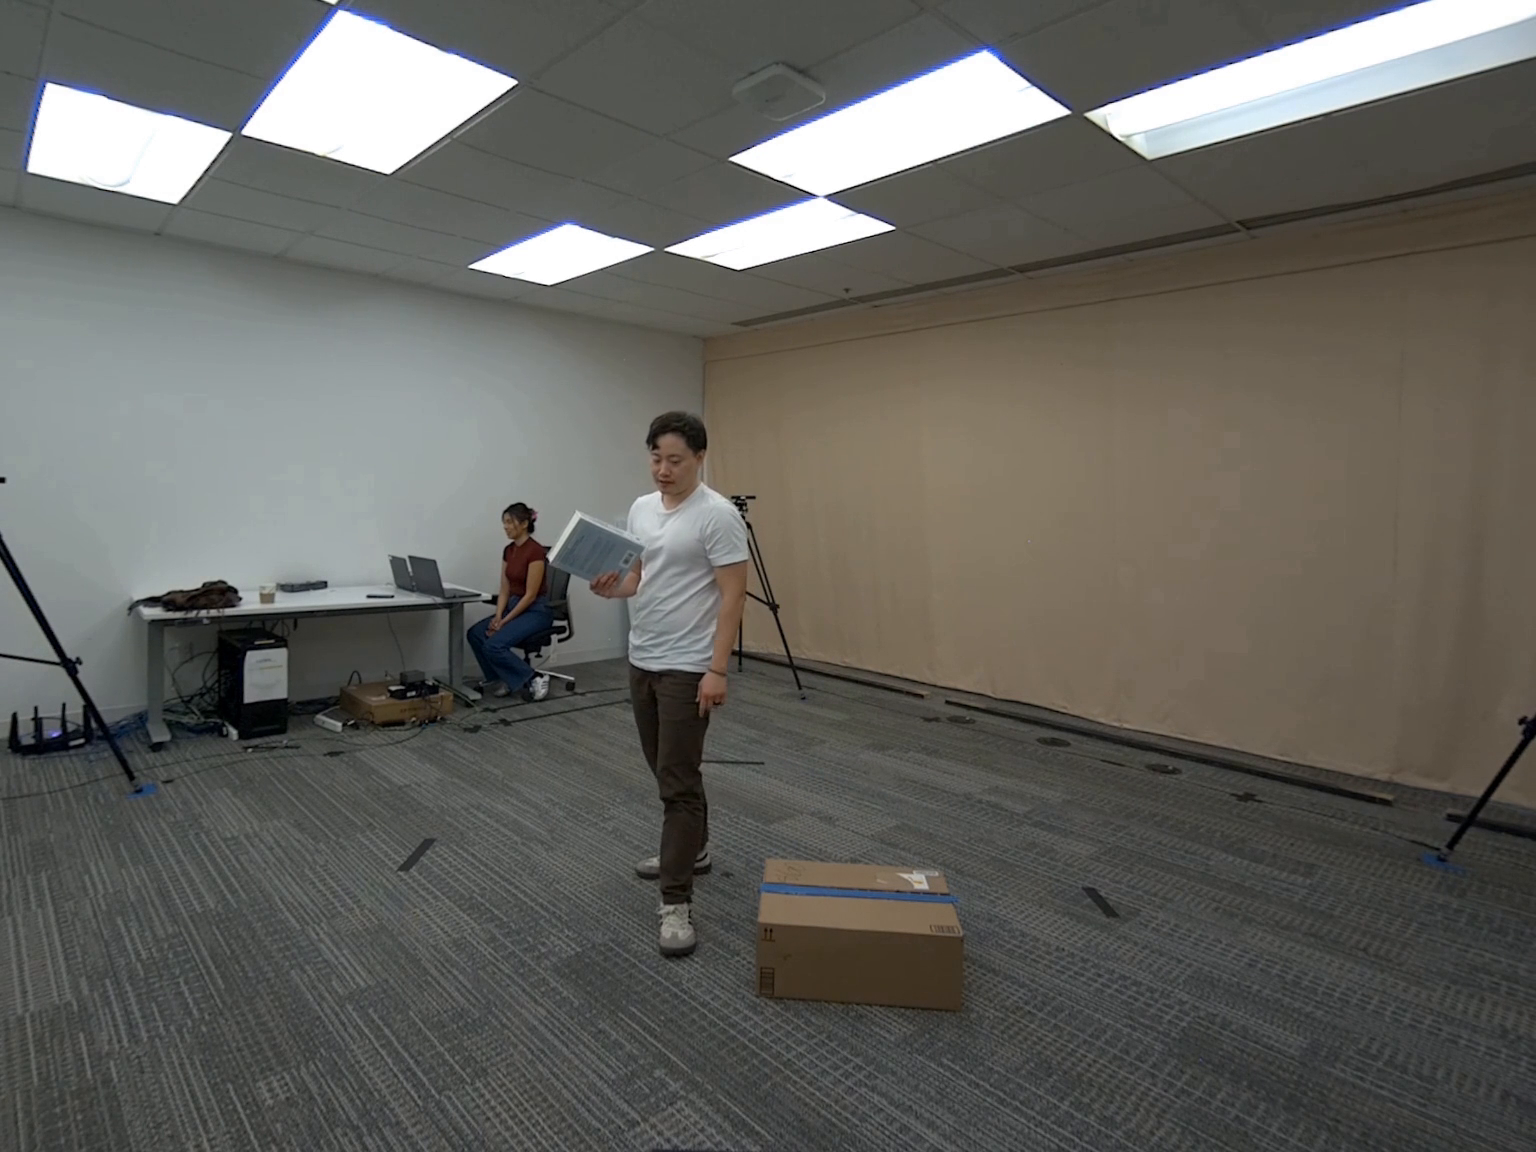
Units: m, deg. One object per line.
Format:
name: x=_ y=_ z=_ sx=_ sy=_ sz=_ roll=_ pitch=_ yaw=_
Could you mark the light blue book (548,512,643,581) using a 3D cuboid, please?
light blue book: x=-0.553 y=-0.077 z=2.708 sx=0.253 sy=0.191 sz=0.061 roll=25 pitch=16 yaw=-37
